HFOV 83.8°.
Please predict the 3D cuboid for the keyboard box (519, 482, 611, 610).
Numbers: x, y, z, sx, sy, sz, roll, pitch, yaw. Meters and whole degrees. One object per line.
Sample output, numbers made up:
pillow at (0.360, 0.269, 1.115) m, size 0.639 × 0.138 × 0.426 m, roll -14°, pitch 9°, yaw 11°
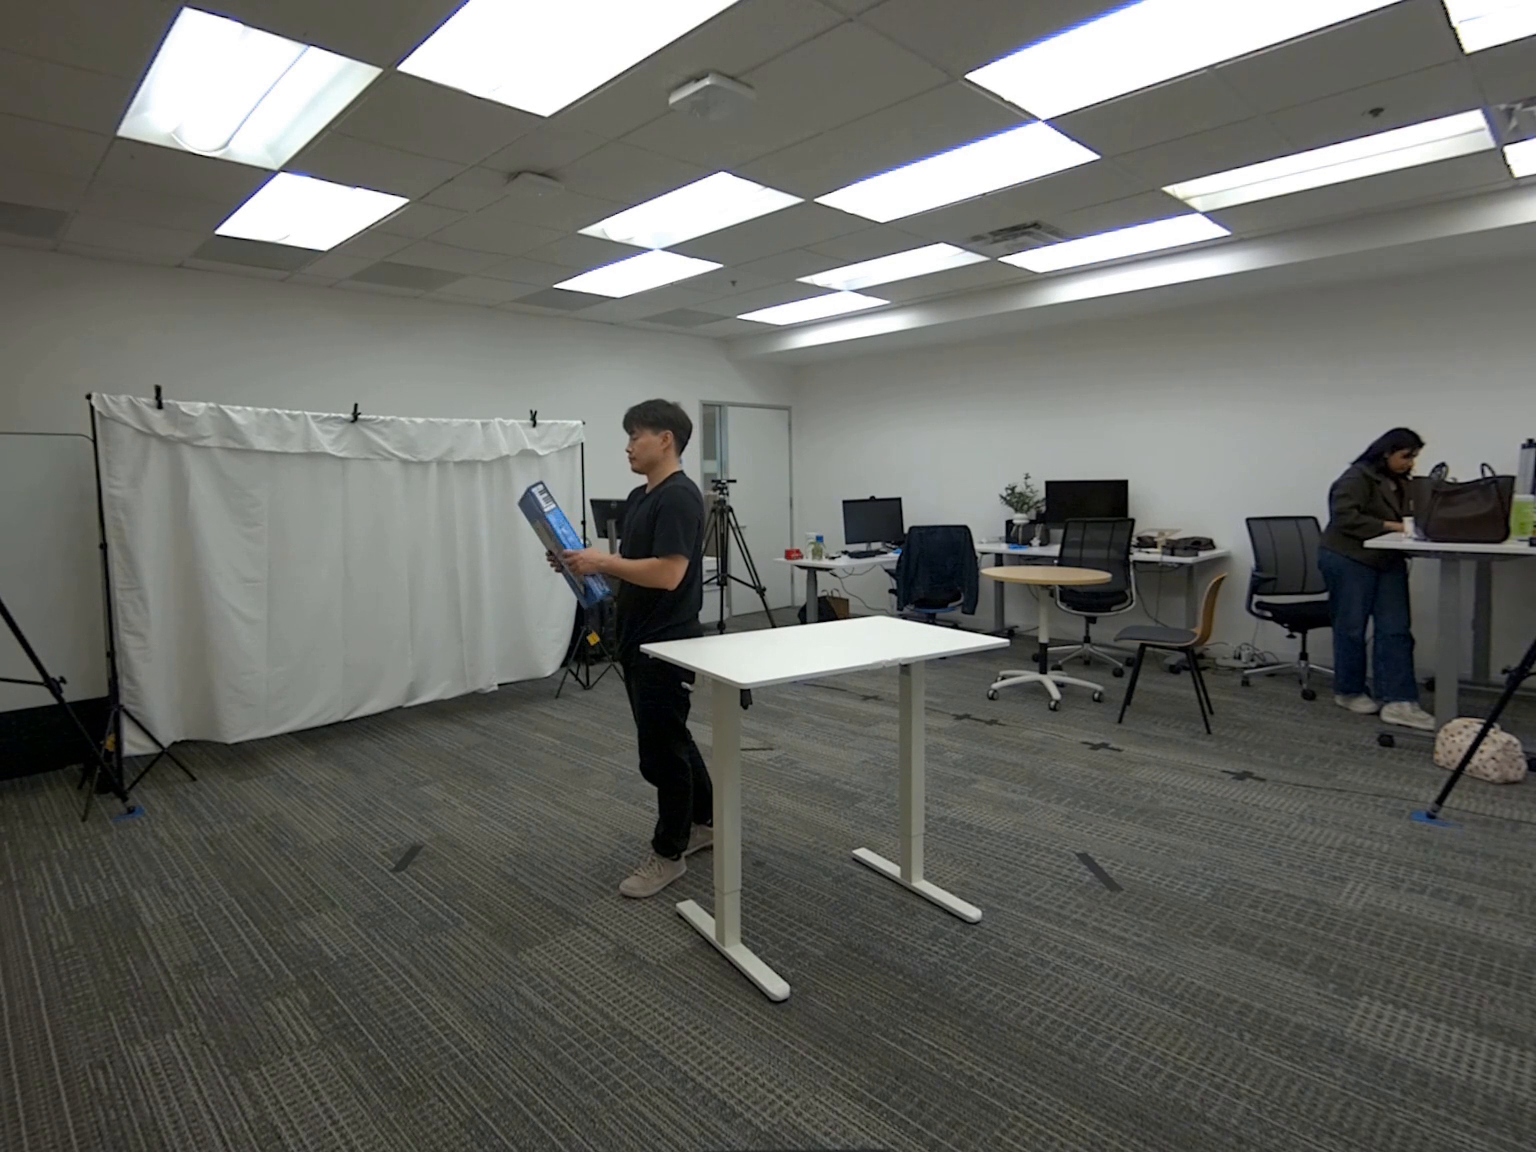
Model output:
keyboard box at (-0.687, -0.096, 2.896) m, size 0.058 × 0.438 × 0.177 m, roll -31°, pitch -1°, yaw -31°
